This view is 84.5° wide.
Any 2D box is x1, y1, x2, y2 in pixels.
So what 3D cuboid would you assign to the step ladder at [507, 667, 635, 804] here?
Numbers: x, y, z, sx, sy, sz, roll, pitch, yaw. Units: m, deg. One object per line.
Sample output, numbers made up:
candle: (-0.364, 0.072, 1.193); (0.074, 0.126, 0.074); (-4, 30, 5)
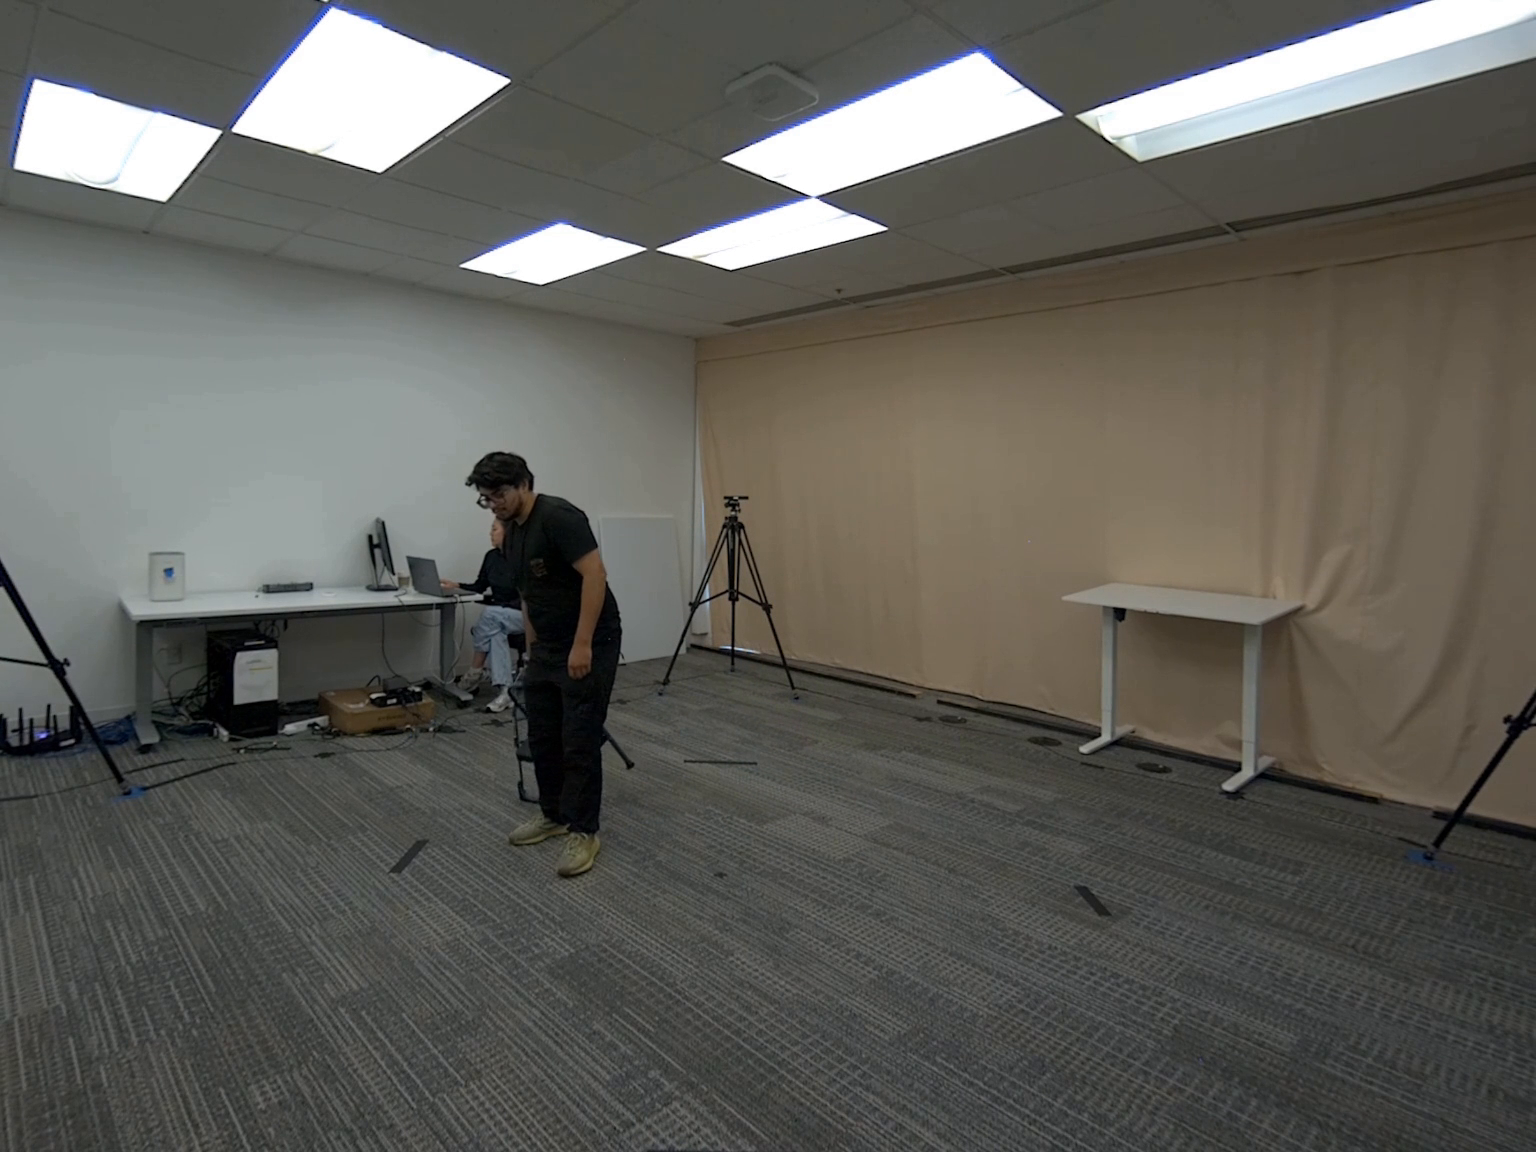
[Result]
step ladder: (-0.922, 0.693, 3.738); (0.438, 0.594, 0.350); (2, 29, 22)
